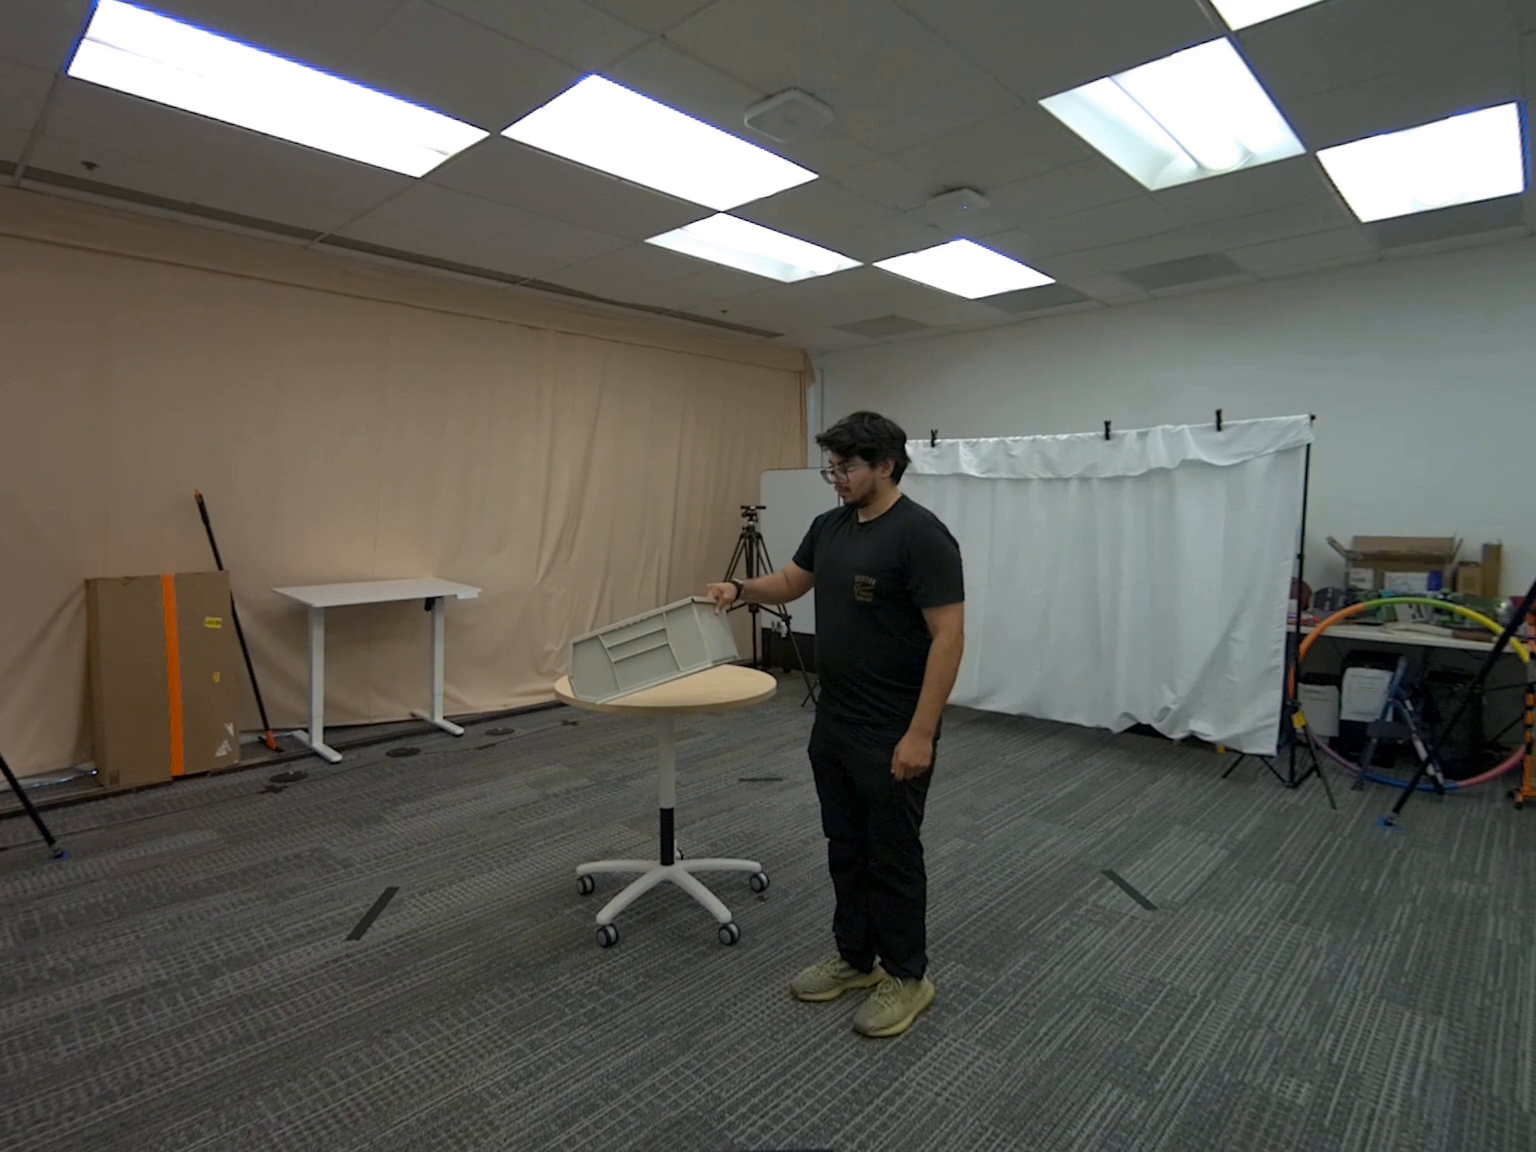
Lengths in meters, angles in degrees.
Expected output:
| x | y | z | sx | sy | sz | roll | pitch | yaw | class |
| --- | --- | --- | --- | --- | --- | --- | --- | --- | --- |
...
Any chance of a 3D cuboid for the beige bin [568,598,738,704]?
| x | y | z | sx | sy | sz | roll | pitch | yaw | class |
| --- | --- | --- | --- | --- | --- | --- | --- | --- | --- |
| -0.302 | 0.208 | 2.305 | 0.380 | 0.190 | 0.416 | -18 | -6 | 8 | beige bin |
